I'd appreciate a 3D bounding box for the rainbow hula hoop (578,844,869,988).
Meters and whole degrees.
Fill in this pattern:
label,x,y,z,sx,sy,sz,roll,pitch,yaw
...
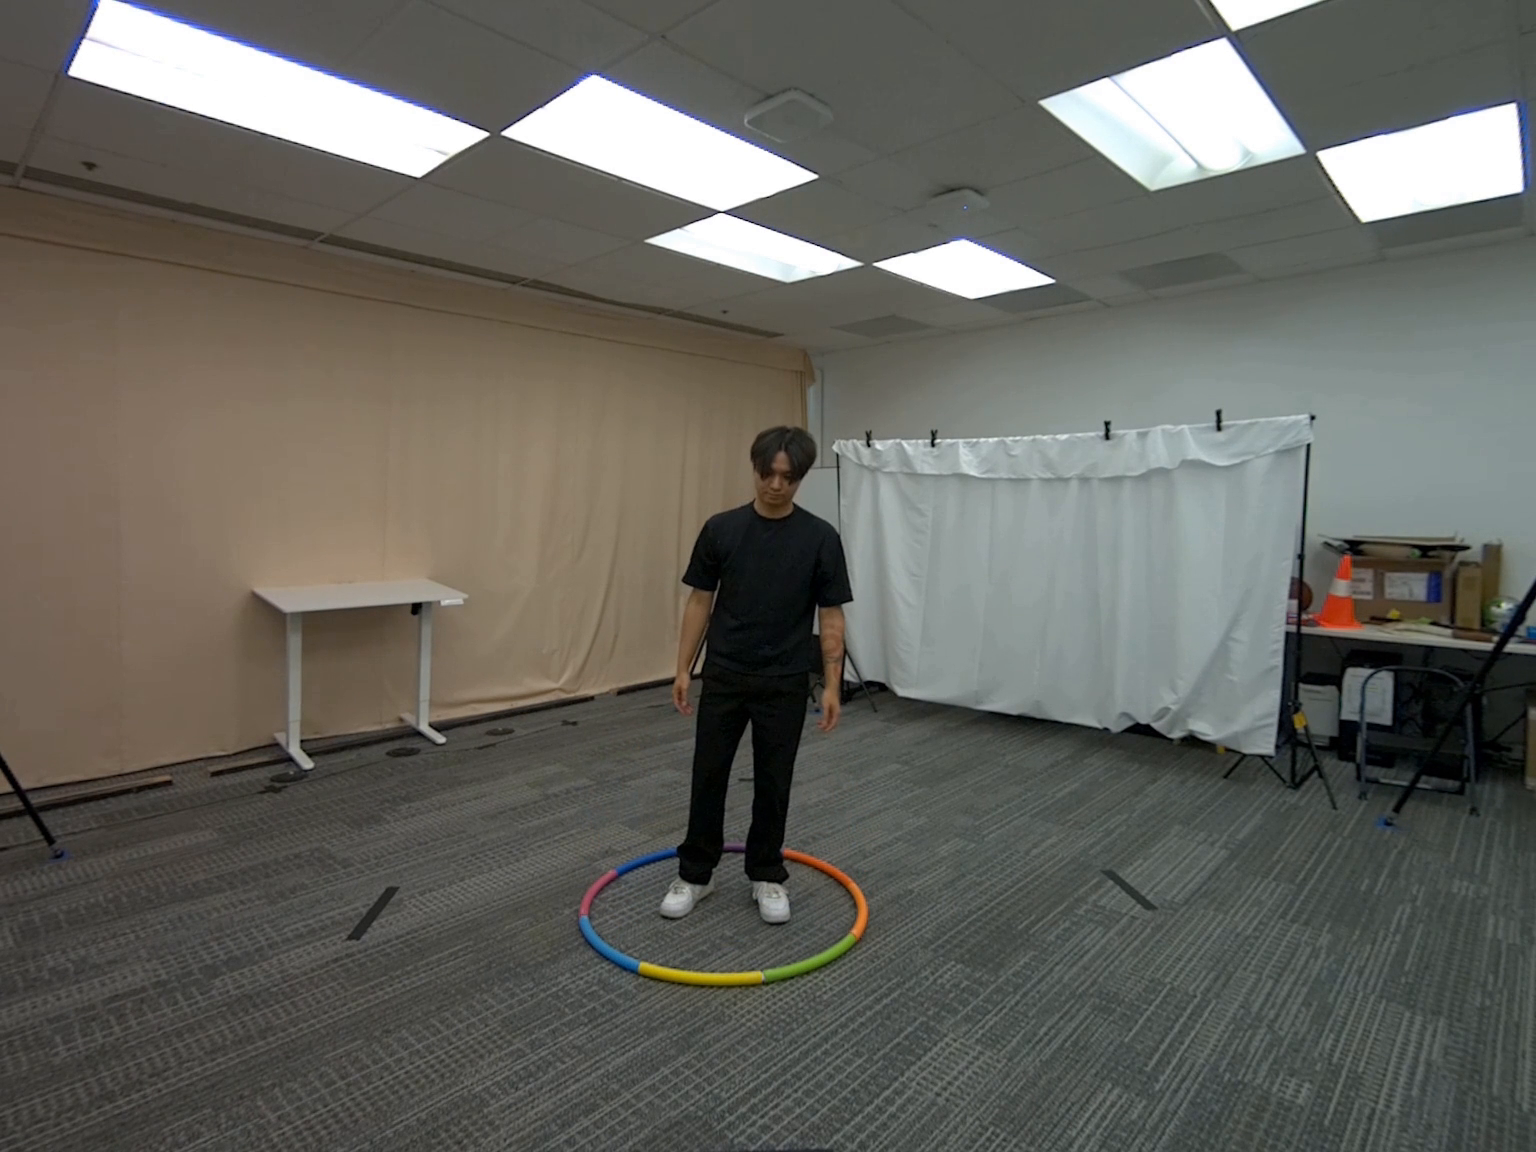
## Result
label,x,y,z,sx,sy,sz,roll,pitch,yaw
rainbow hula hoop,-0.149,1.121,2.920,0.978,0.035,0.982,0,5,-2
